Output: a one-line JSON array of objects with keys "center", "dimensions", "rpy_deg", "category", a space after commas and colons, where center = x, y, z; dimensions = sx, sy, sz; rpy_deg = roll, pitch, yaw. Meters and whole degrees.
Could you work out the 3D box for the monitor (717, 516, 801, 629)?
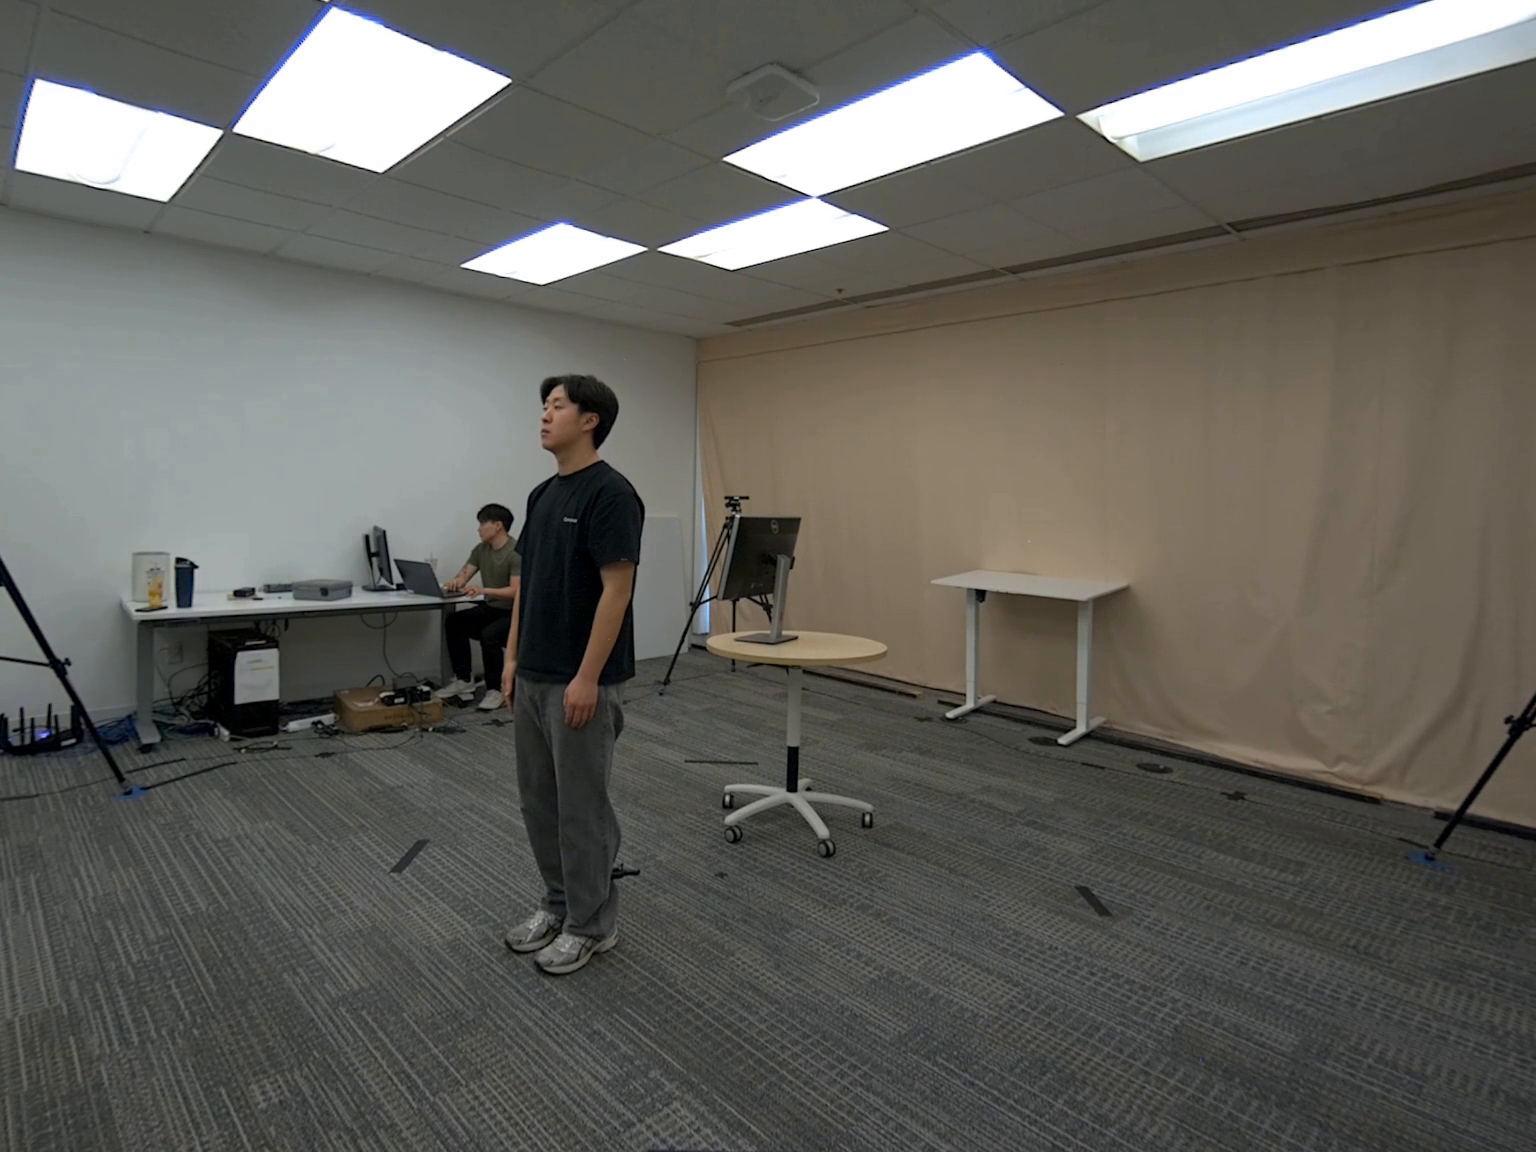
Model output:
[{"center": [-0.013, 0.018, 3.673], "dimensions": [0.227, 0.565, 0.550], "rpy_deg": [0, 2, 32], "category": "monitor"}]
